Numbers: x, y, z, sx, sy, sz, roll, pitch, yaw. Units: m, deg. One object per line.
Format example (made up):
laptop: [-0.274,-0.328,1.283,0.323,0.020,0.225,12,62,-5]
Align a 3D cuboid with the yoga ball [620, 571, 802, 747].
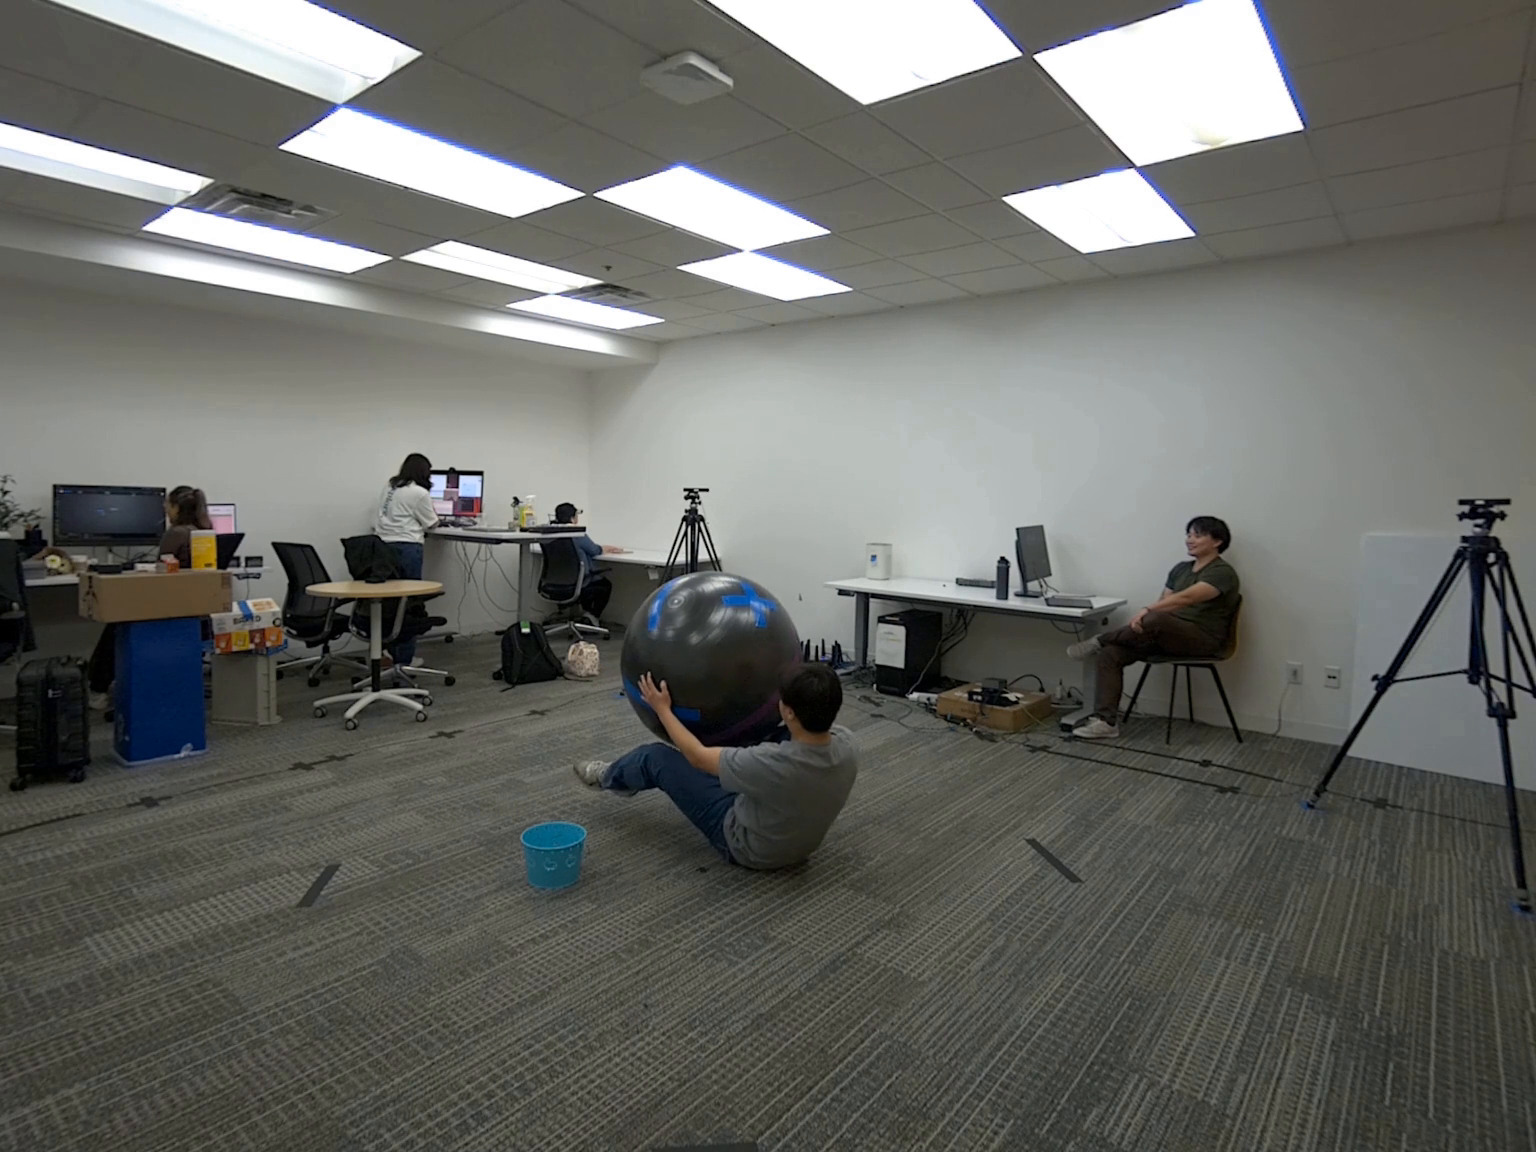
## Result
yoga ball: [-0.264,0.351,3.580,0.757,0.756,0.761,1,4,-2]
